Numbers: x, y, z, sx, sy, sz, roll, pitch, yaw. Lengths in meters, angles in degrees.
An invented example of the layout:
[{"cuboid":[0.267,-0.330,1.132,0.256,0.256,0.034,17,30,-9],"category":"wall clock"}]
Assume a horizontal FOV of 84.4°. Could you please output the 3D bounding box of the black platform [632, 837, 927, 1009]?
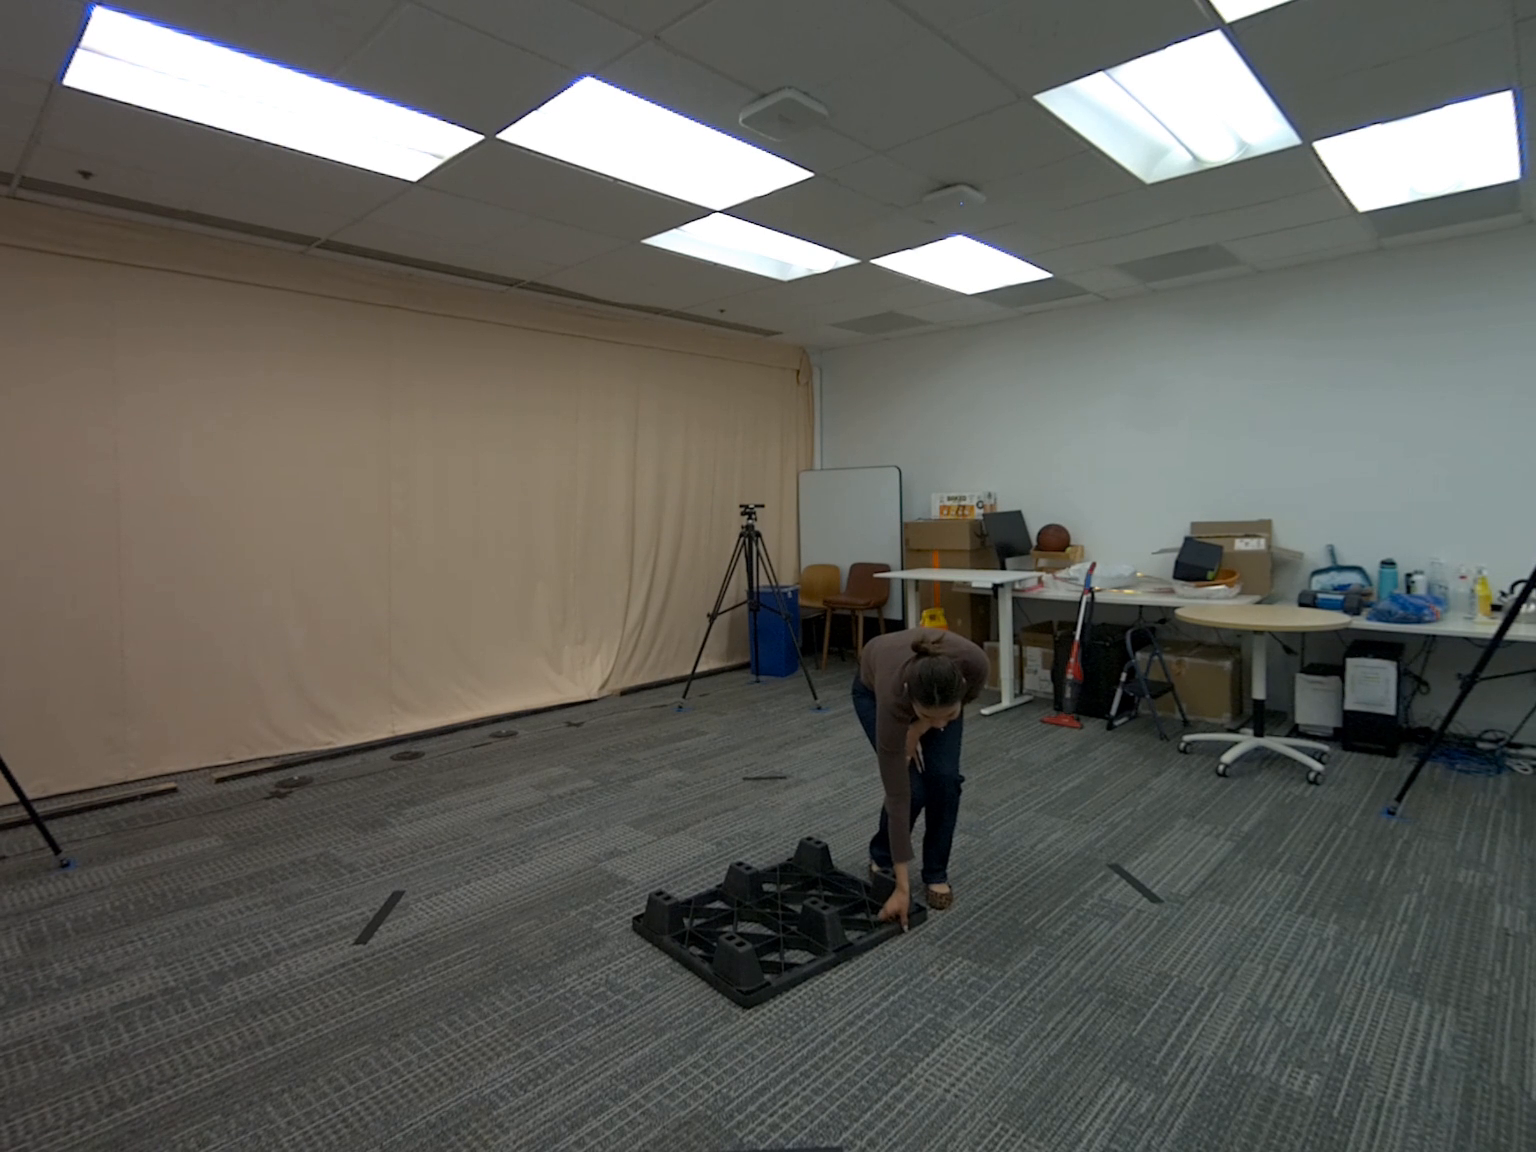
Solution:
[{"cuboid":[0.042,1.087,2.791,0.781,0.143,0.625,-4,7,-40],"category":"black platform"}]
